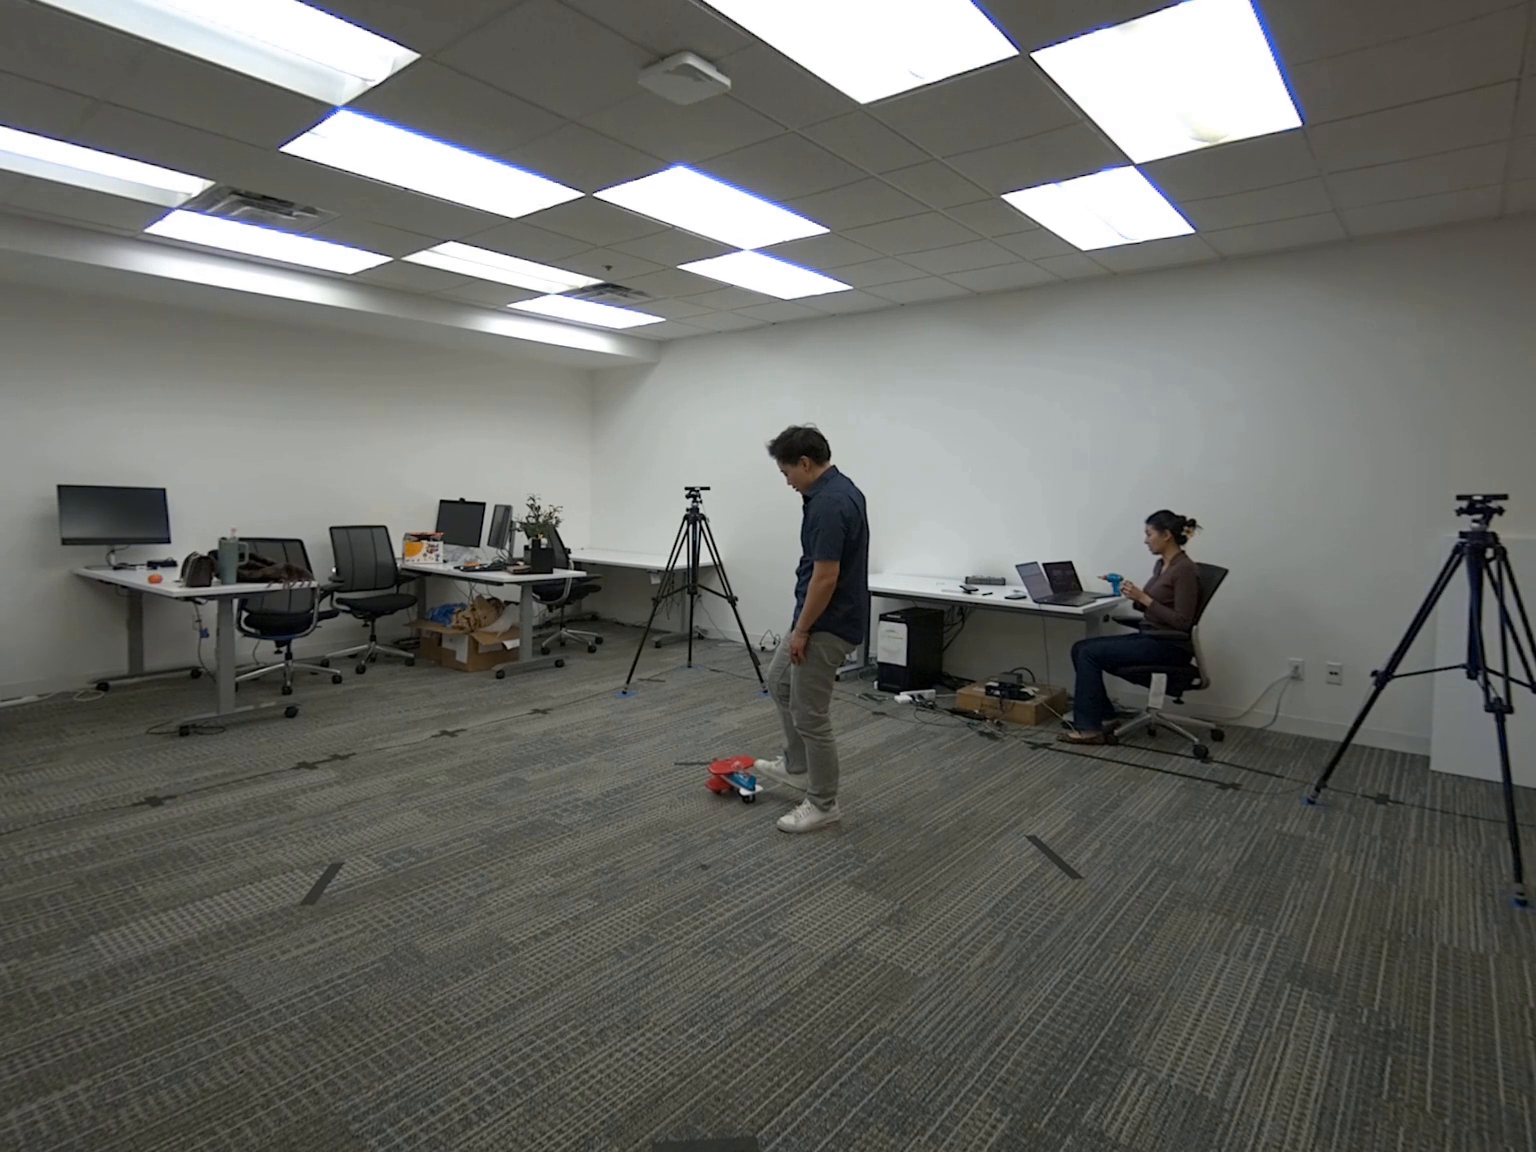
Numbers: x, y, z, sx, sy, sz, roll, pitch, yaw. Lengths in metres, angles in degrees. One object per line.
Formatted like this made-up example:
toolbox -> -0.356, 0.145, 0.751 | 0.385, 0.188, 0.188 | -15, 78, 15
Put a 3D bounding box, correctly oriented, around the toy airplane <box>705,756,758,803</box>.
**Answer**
toy airplane -> -0.146, 0.918, 3.862 | 0.265, 0.156, 0.246 | 1, 5, 21
